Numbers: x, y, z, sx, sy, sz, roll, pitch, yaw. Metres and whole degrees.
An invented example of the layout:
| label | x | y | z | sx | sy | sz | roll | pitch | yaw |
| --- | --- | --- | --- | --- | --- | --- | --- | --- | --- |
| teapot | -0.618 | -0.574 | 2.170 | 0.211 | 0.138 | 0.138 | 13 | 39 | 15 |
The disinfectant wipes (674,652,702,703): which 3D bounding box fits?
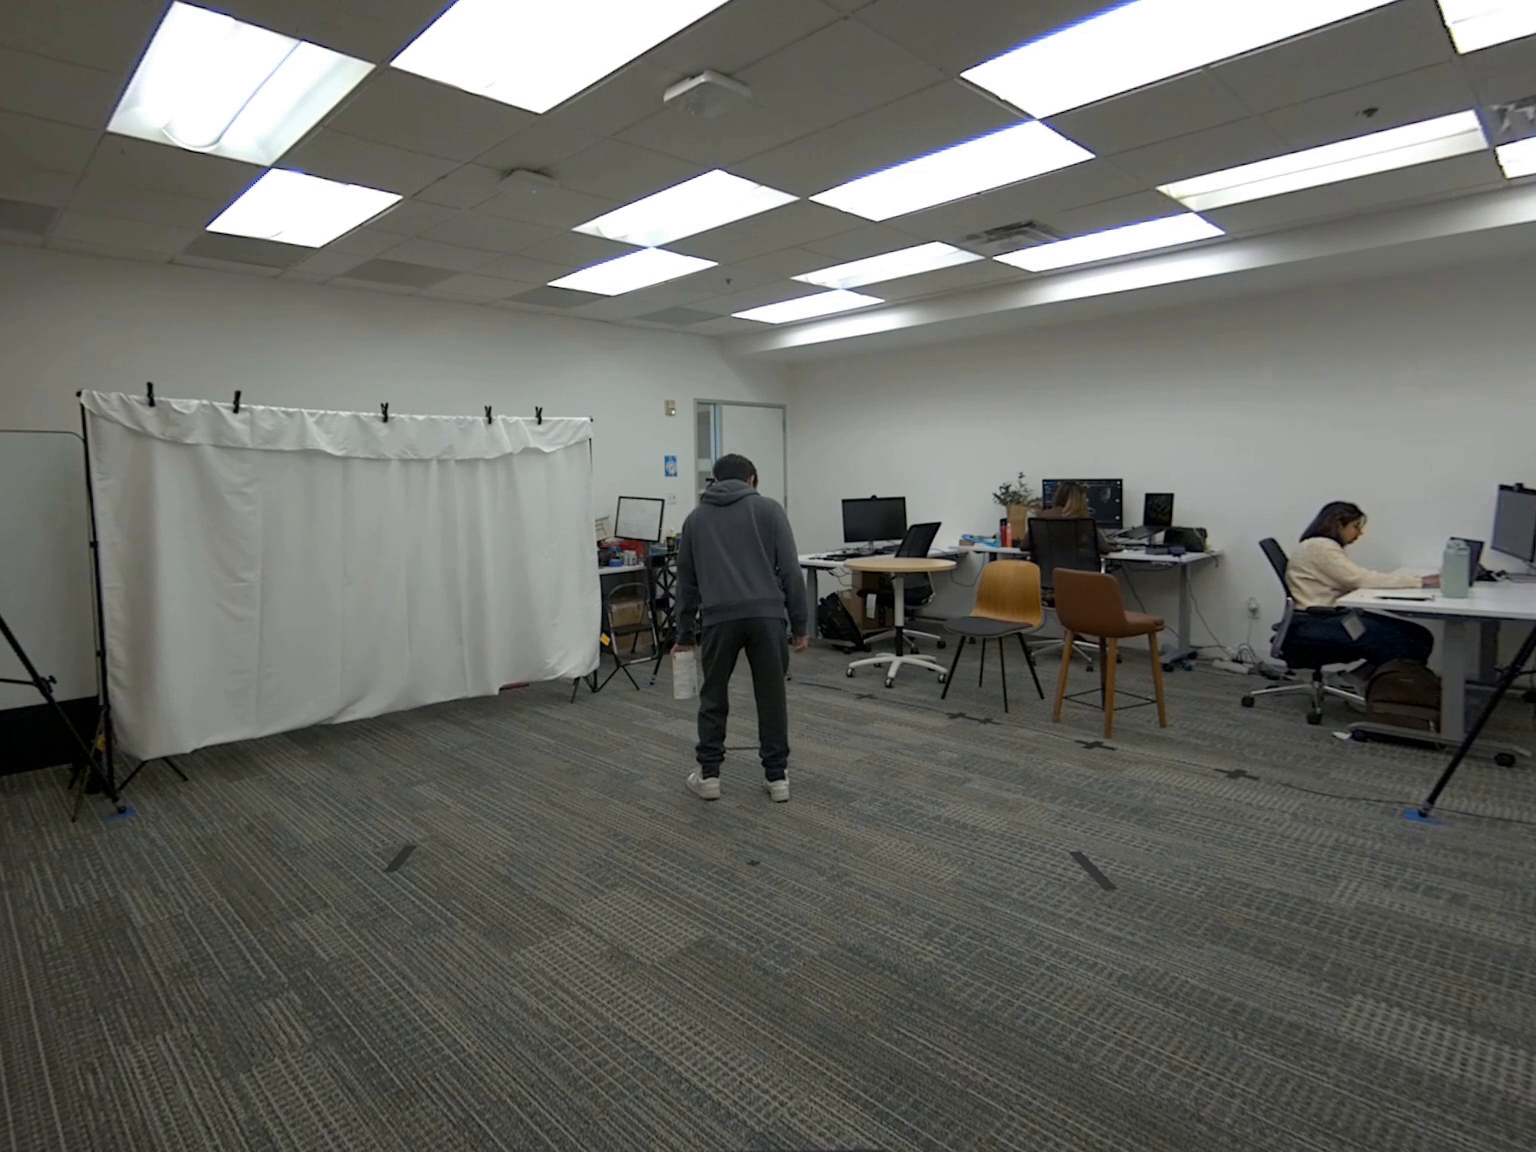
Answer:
| label | x | y | z | sx | sy | sz | roll | pitch | yaw |
| --- | --- | --- | --- | --- | --- | --- | --- | --- | --- |
| disinfectant wipes | -0.366 | 0.461 | 3.932 | 0.117 | 0.219 | 0.117 | -3 | -6 | -2 |
